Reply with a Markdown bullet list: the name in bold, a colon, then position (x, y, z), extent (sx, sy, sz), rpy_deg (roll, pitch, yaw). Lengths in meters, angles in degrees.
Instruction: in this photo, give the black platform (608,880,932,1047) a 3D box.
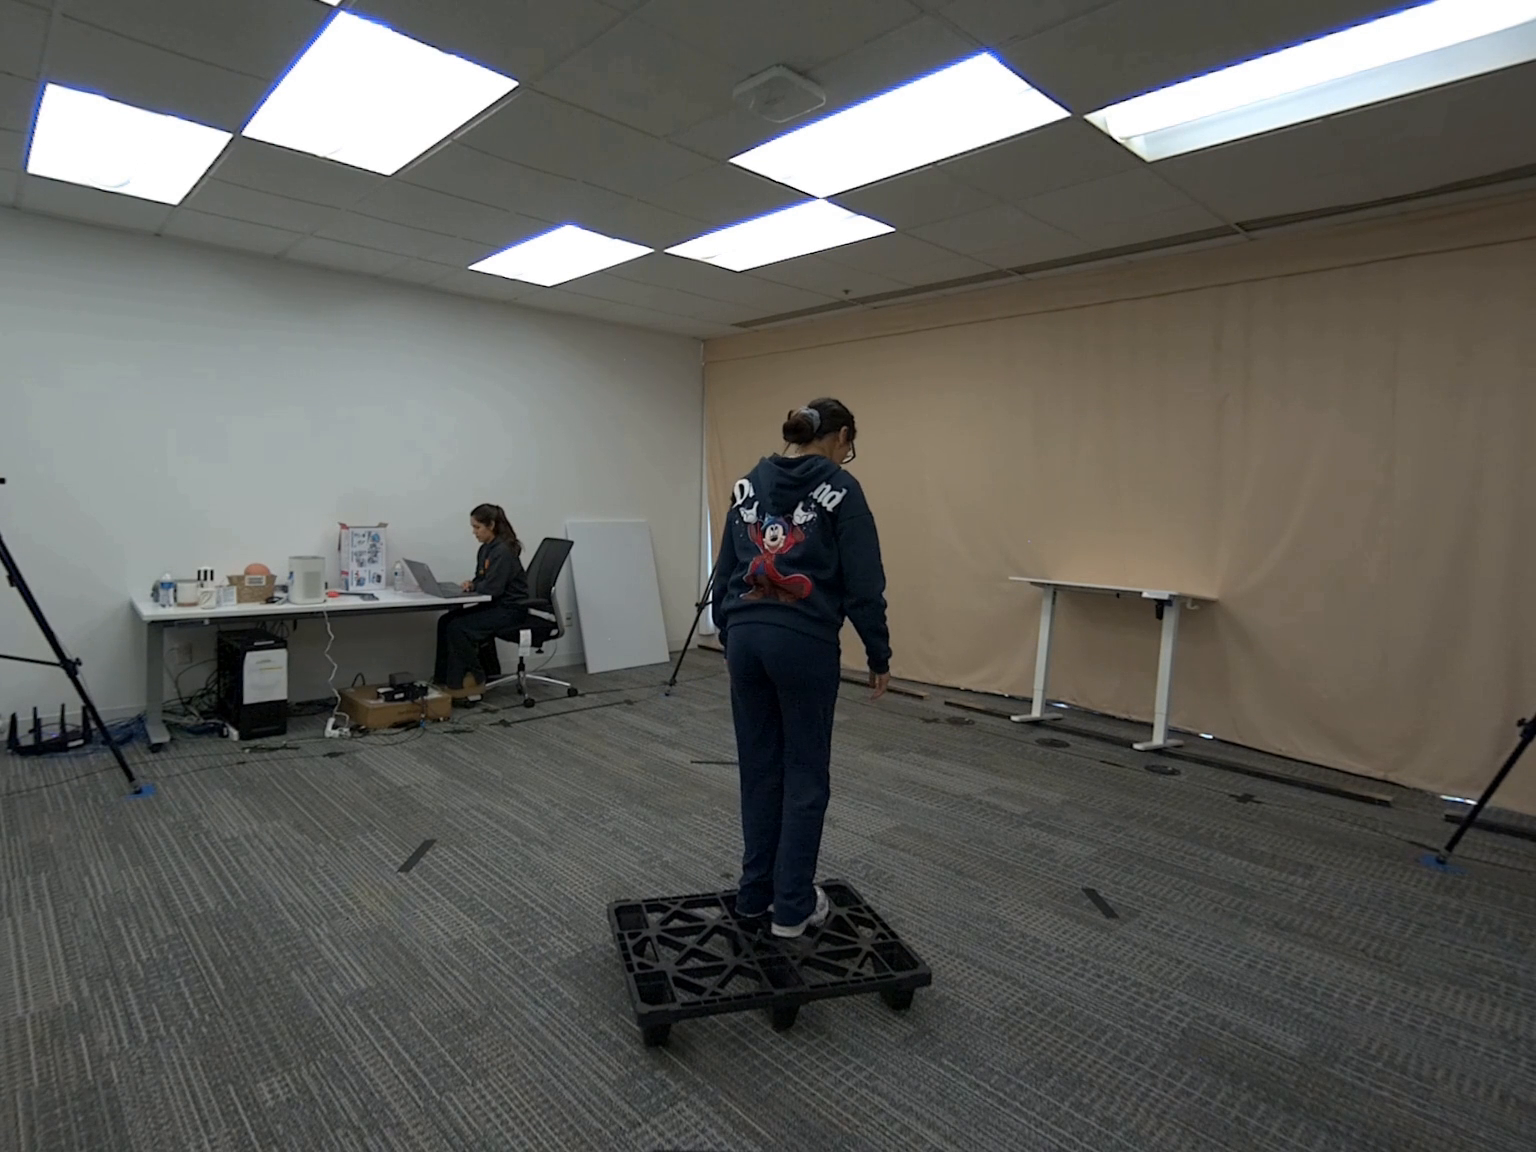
- **black platform**: position (-0.034, 1.100, 2.425), extent (0.795, 0.143, 0.614), rpy_deg (0, 4, -17)
